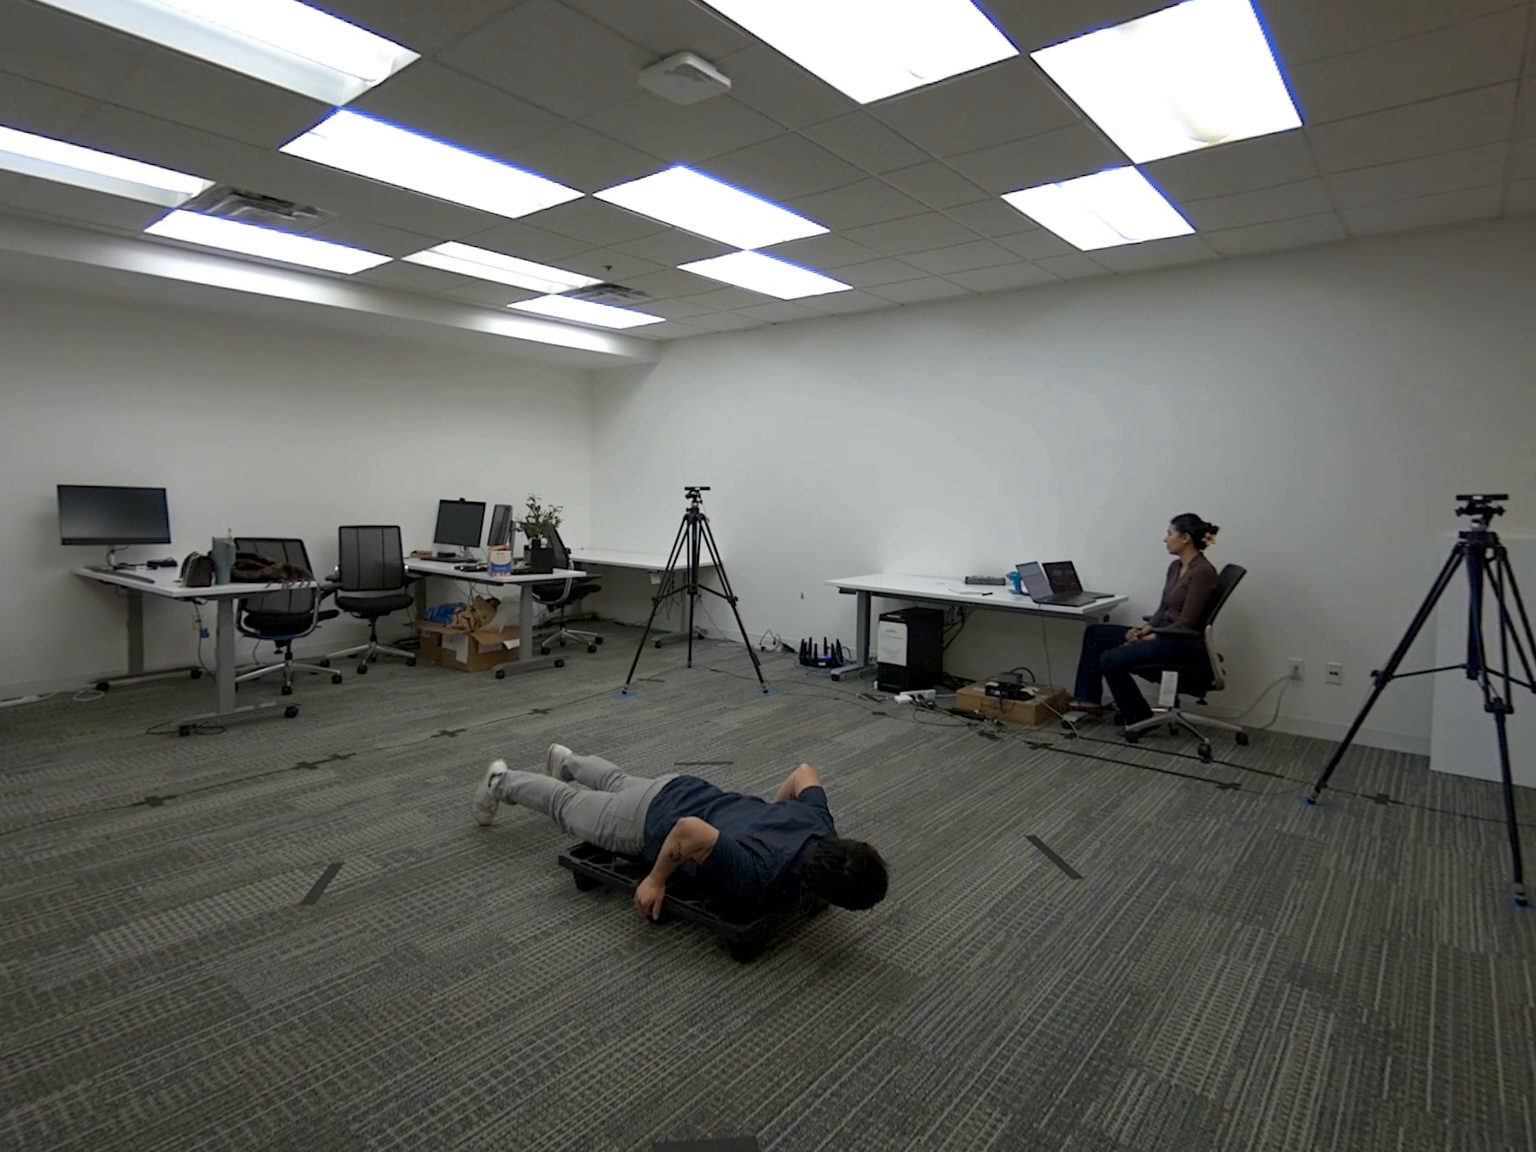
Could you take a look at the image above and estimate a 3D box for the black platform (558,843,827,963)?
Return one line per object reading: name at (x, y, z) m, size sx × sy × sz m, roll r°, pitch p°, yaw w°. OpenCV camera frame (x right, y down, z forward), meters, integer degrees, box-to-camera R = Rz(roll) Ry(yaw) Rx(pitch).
black platform at (-0.241, 1.031, 2.877) m, size 0.832 × 0.143 × 0.587 m, roll 5°, pitch 5°, yaw 37°
